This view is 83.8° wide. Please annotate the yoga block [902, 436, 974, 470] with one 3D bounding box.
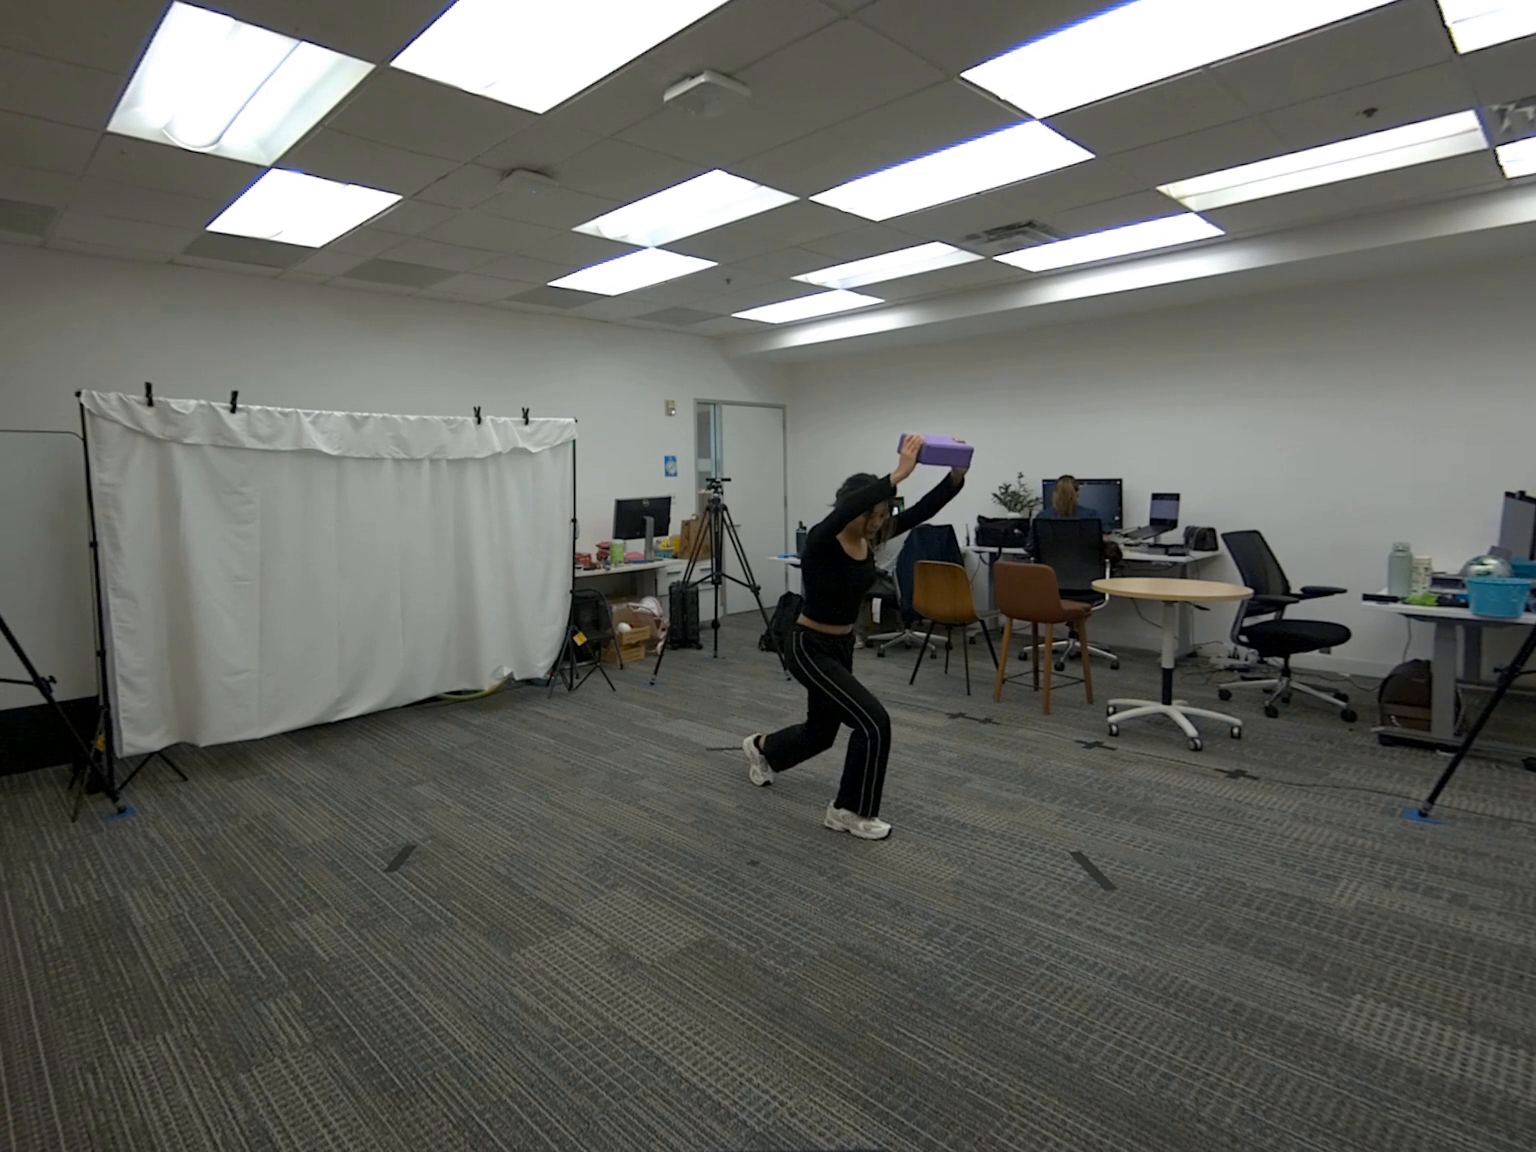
[{"bbox_3d":[0.589,-0.445,2.993,0.223,0.075,0.155,-1,25,-32],"label":"yoga block"}]
